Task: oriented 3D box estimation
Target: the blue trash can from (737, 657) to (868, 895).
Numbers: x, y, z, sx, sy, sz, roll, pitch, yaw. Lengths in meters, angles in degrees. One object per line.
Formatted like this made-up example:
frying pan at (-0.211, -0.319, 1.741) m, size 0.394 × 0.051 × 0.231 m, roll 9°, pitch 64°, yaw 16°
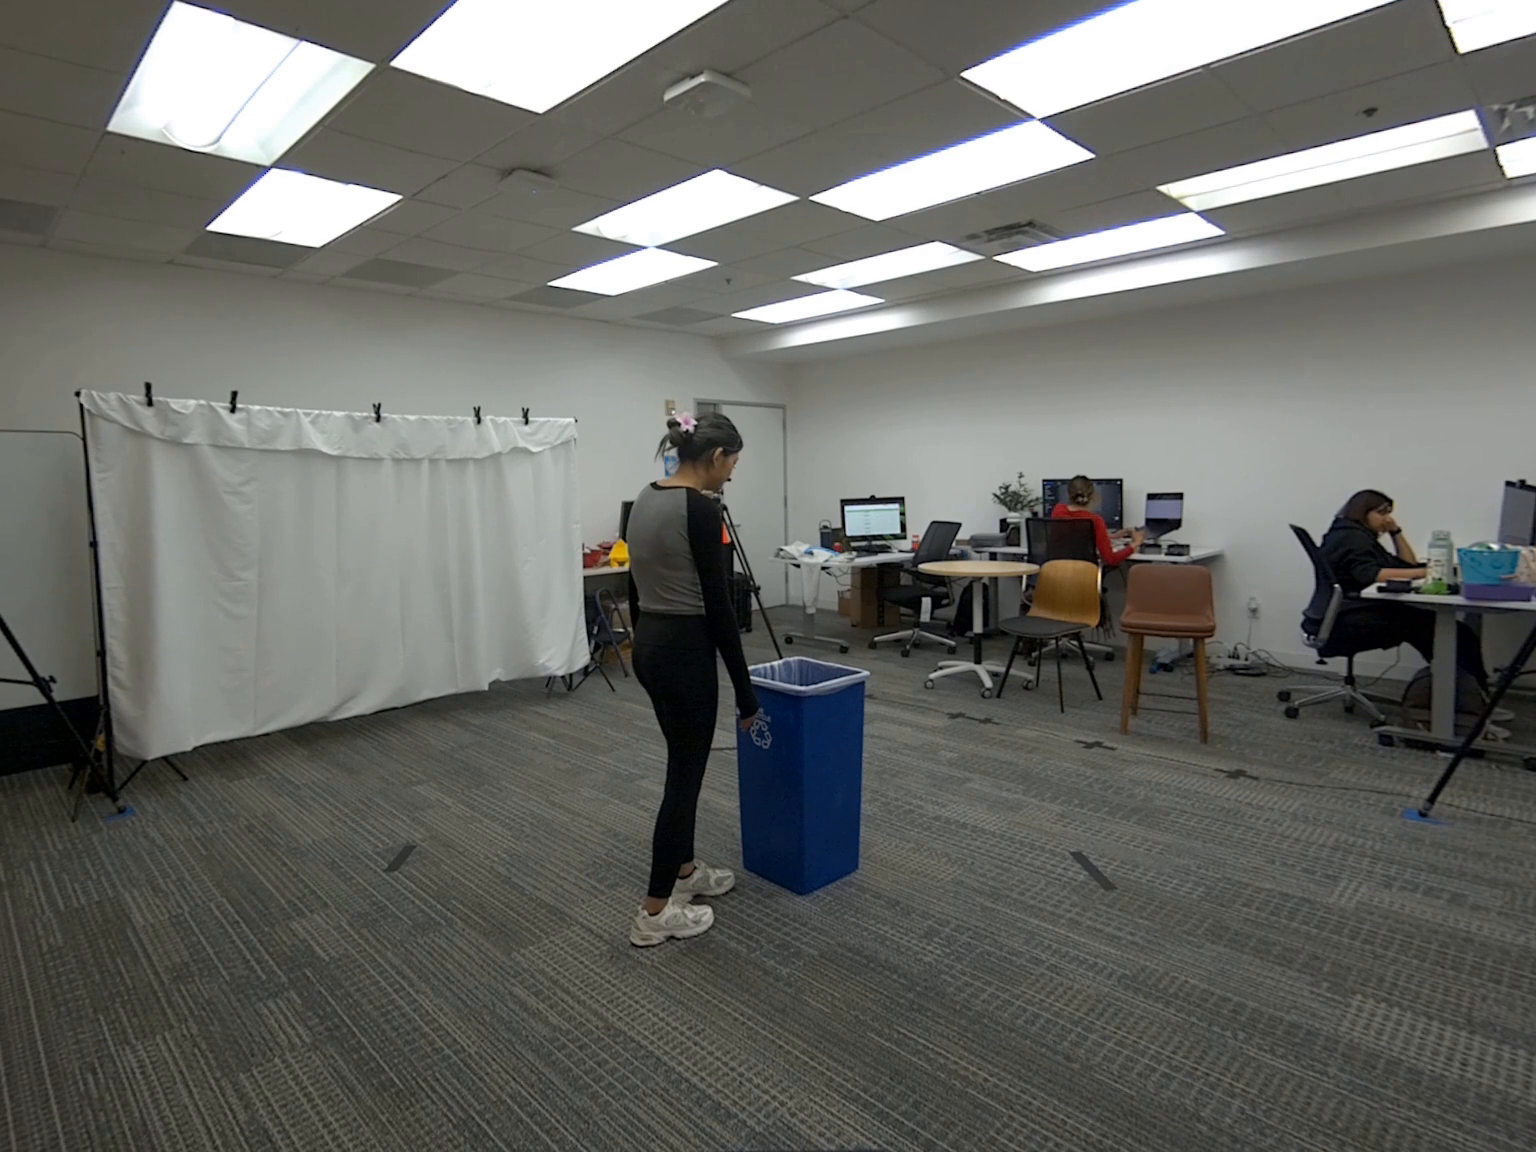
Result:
blue trash can at (0.124, 0.690, 3.032) m, size 0.368 × 0.711 × 0.385 m, roll -5°, pitch 6°, yaw -43°
